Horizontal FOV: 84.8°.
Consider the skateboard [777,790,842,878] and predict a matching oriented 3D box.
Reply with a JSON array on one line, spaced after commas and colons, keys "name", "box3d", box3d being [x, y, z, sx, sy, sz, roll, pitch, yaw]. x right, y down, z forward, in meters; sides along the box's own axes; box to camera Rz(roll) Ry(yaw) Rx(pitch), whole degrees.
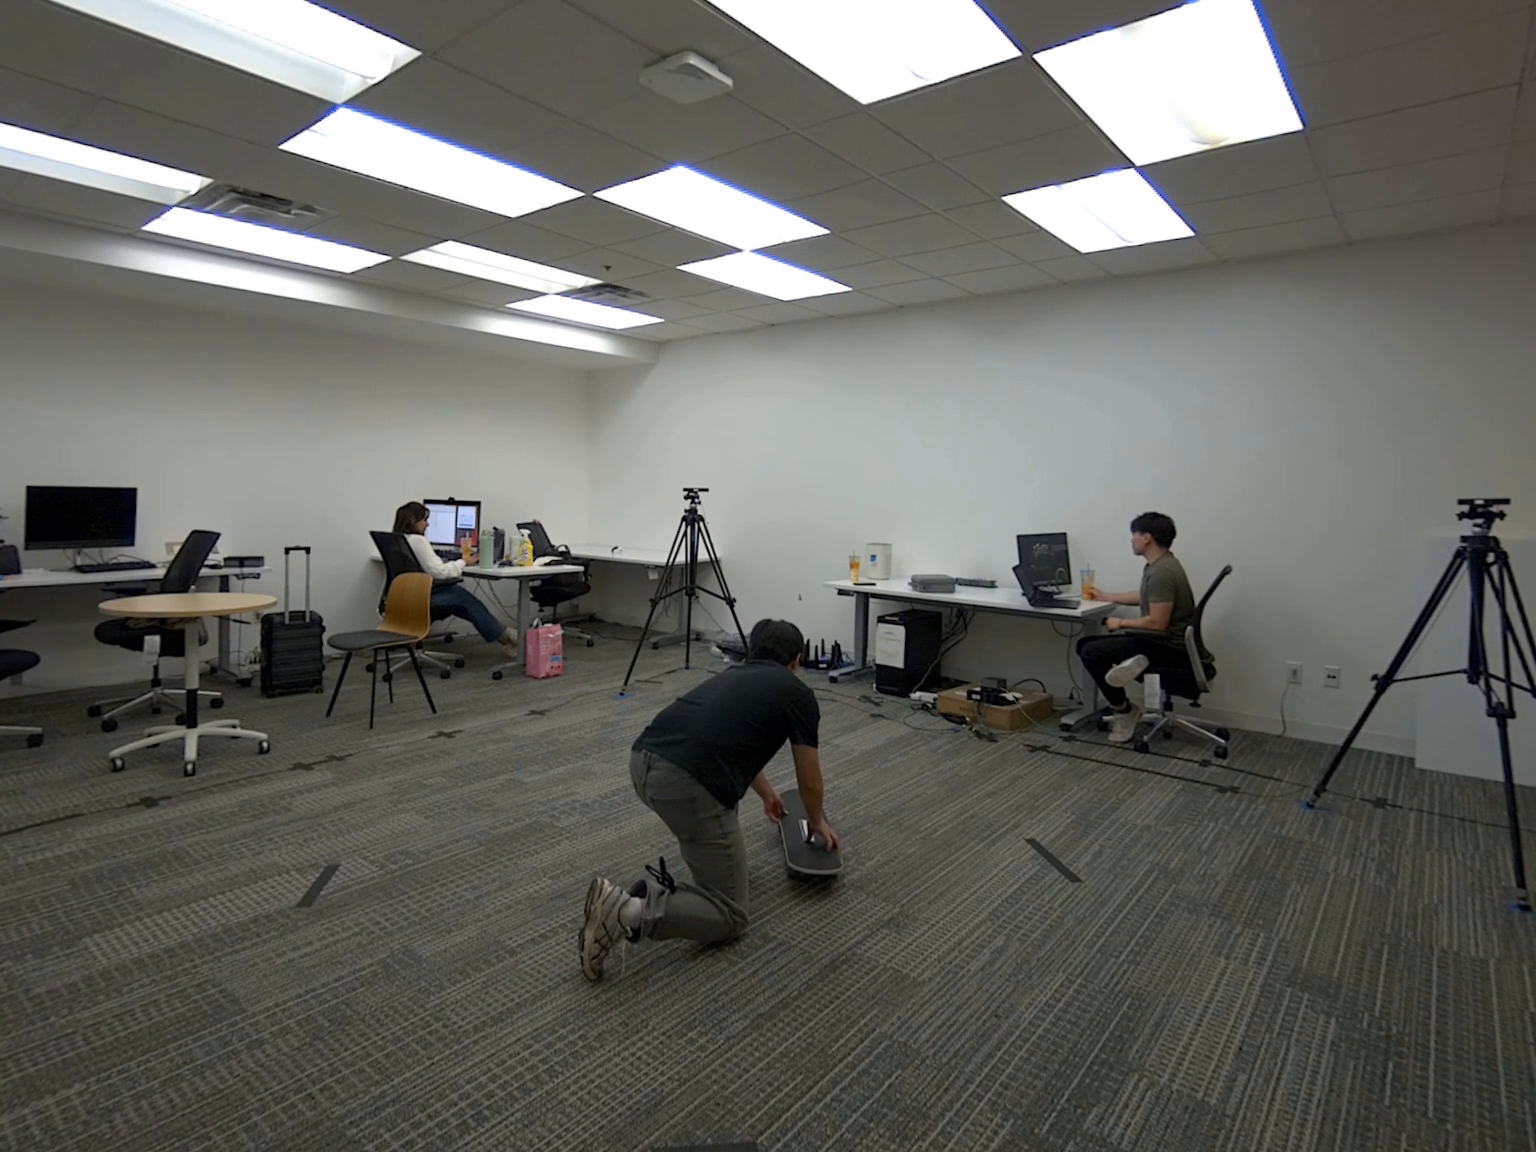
[{"name": "skateboard", "box3d": [0.135, 1.001, 3.263, 0.193, 0.110, 0.791, 1, 6, -4]}]
